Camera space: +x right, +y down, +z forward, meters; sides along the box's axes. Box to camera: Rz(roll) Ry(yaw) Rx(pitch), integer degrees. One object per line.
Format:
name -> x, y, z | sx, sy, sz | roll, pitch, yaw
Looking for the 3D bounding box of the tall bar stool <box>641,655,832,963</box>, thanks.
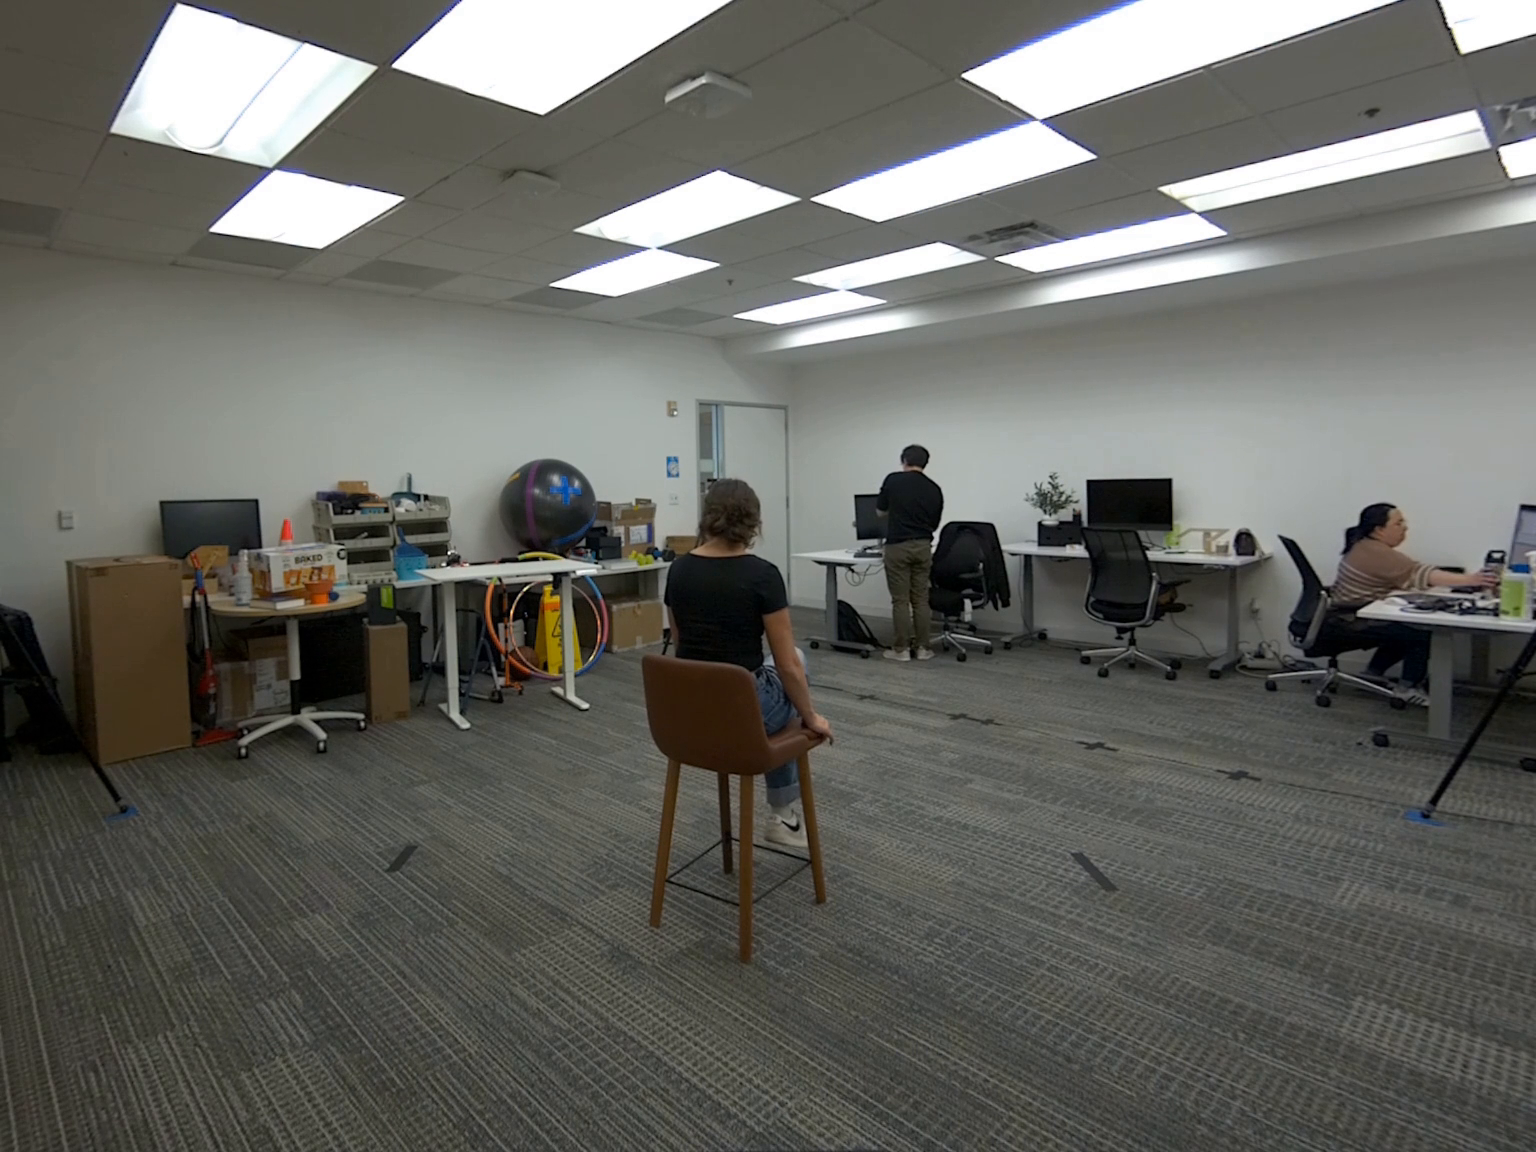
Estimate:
tall bar stool -> -0.110, 0.659, 2.722 | 0.469, 0.885, 0.457 | 1, 7, 35
